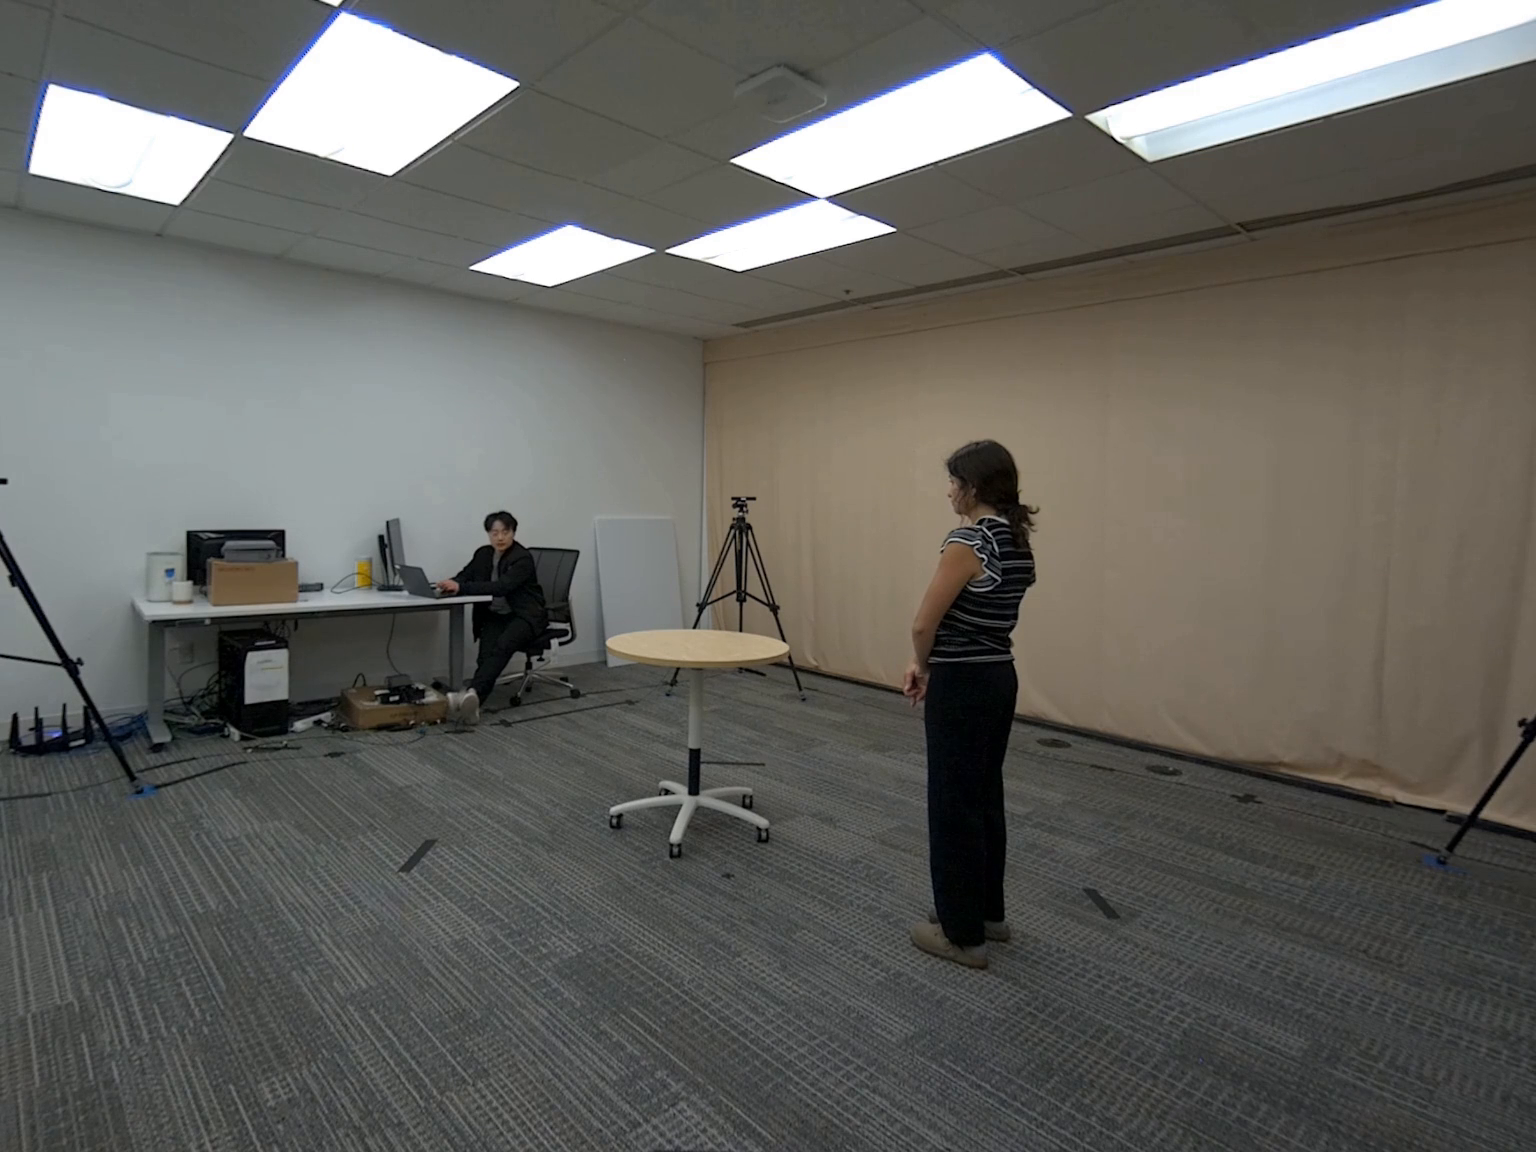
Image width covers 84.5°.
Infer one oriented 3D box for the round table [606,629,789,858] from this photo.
[{"bbox_3d":[-0.319,0.677,3.547,0.763,0.792,0.766,2,4,-1],"label":"round table"}]
